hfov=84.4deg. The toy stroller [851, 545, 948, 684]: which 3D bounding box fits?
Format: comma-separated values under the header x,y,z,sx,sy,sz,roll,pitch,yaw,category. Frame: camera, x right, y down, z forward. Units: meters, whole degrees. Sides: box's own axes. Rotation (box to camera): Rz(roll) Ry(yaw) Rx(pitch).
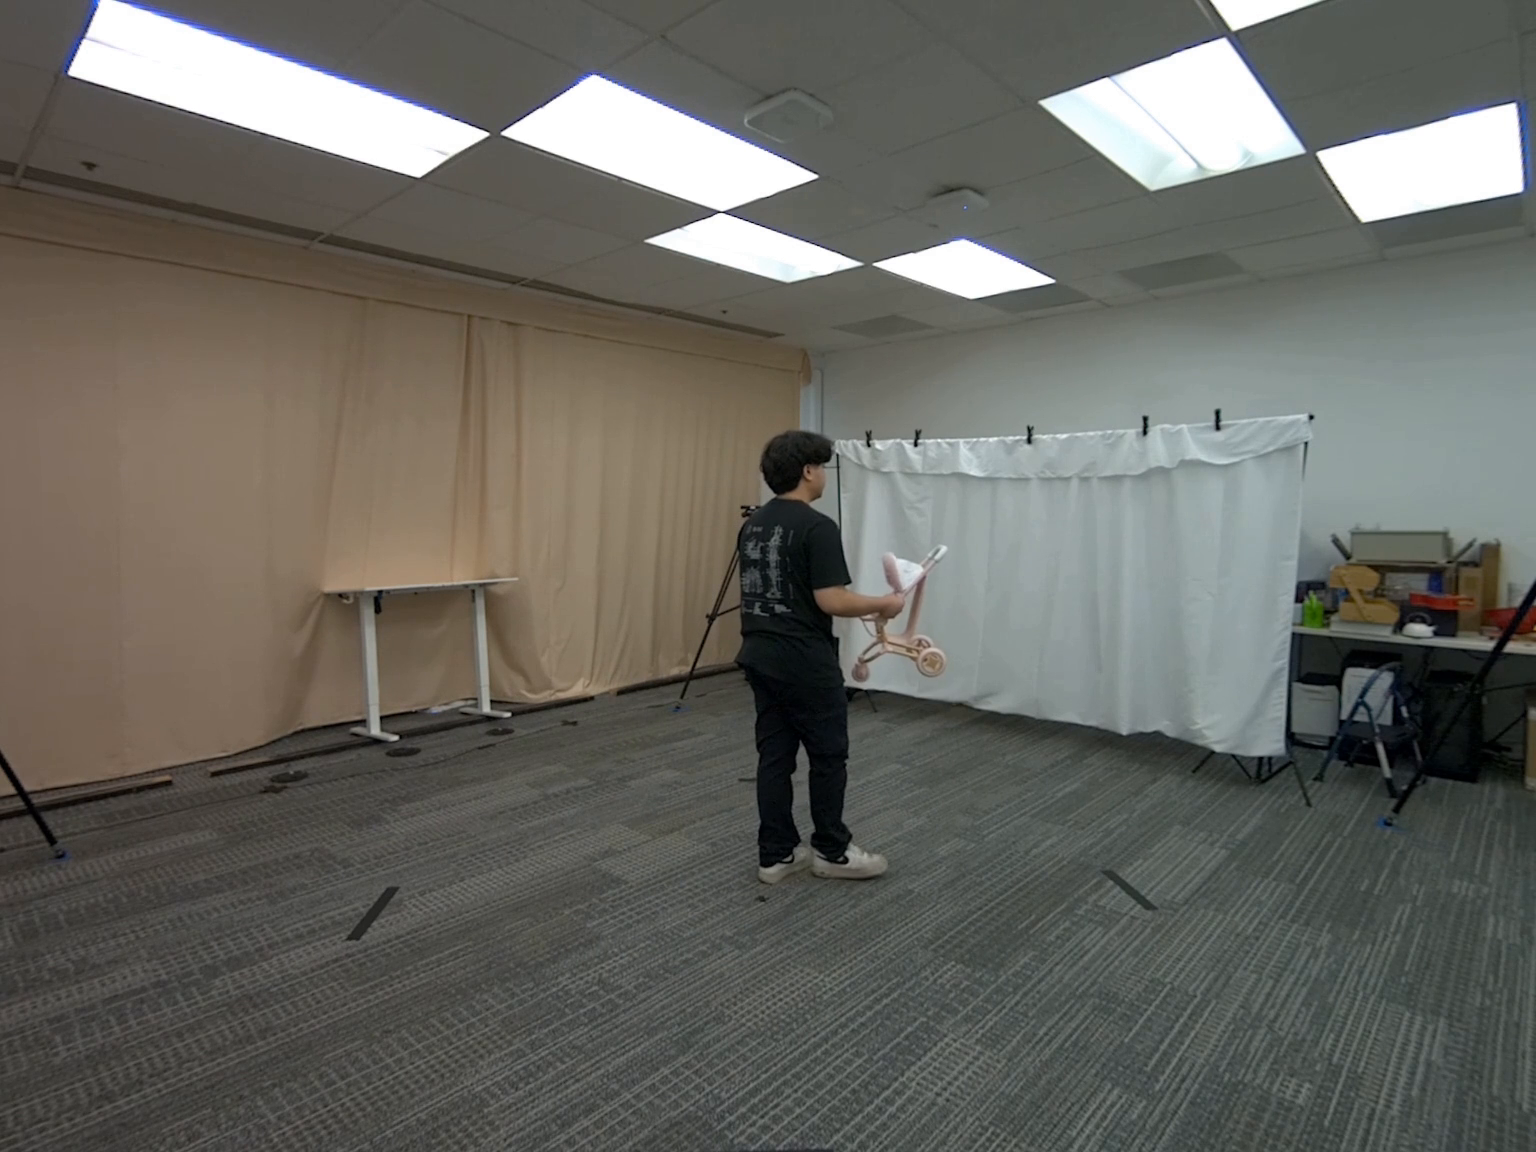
x,y,z,sx,sy,sz,roll,pitch,yaw,category
0.505,0.150,3.228,0.345,0.533,0.279,2,5,9,toy stroller
